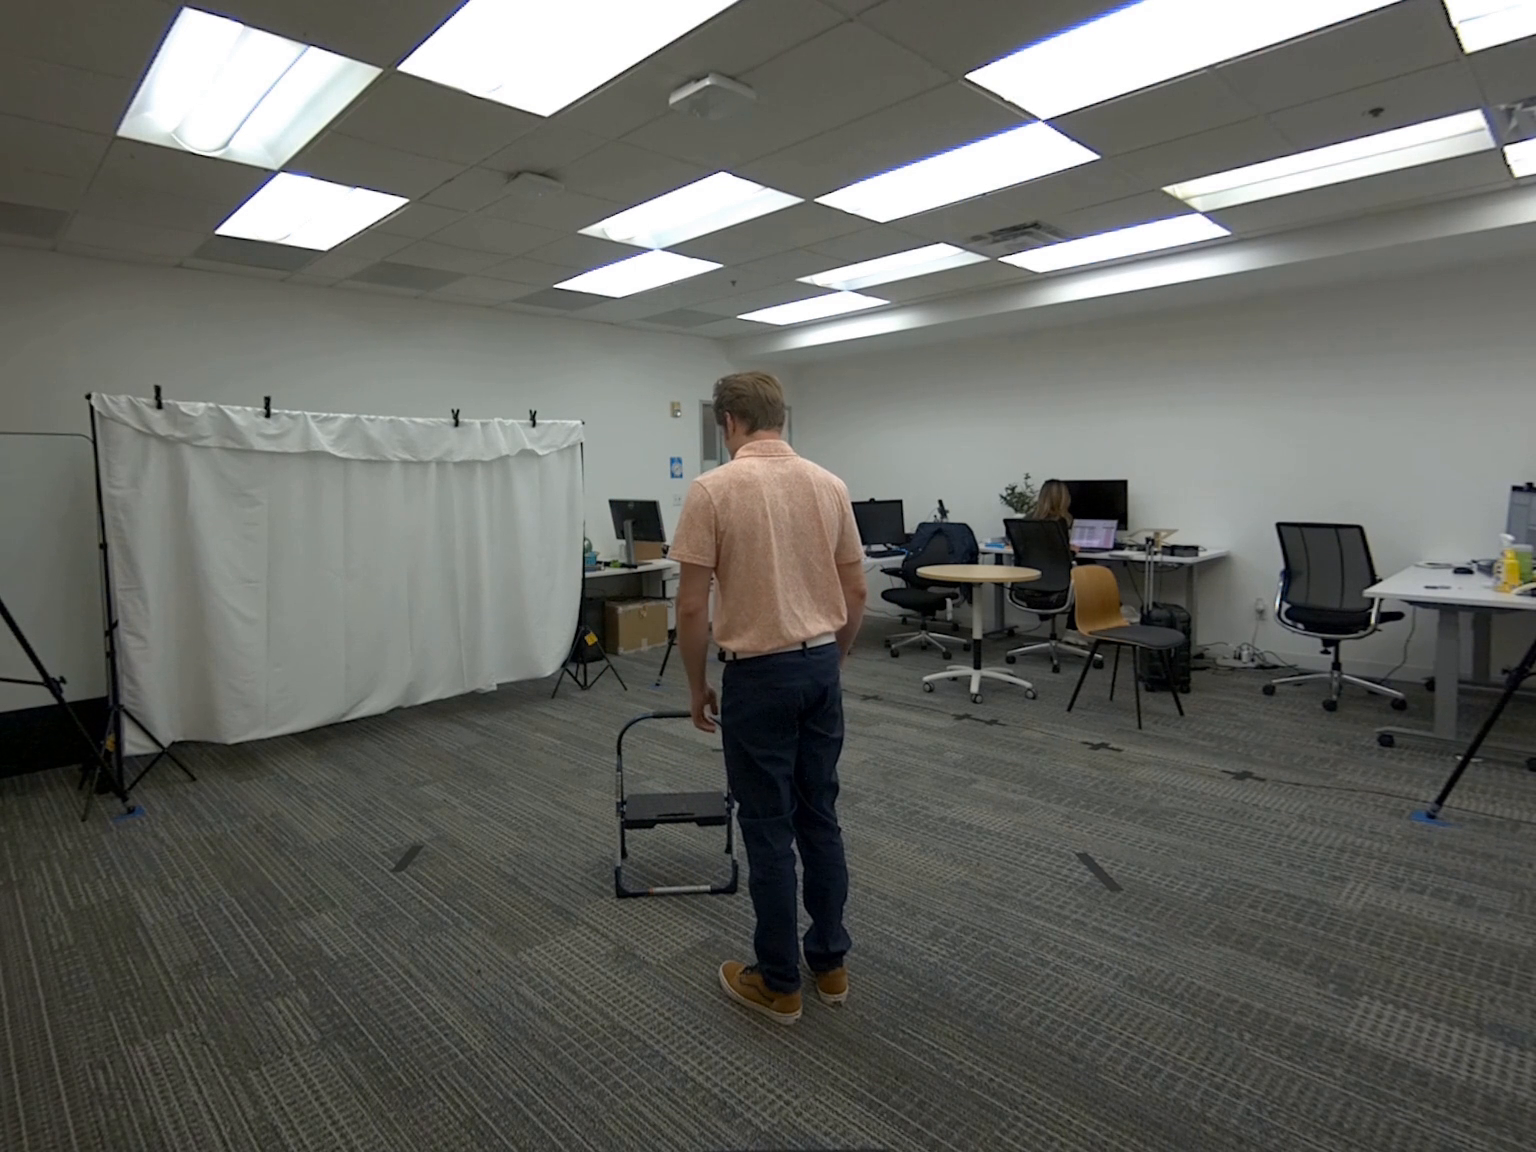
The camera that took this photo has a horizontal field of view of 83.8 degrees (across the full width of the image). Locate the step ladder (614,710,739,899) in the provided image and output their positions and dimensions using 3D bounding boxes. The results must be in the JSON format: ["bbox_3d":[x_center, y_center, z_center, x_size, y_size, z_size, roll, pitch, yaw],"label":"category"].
[{"bbox_3d":[-0.330,0.762,3.025,0.428,0.604,0.352,-2,4,-6],"label":"step ladder"}]
